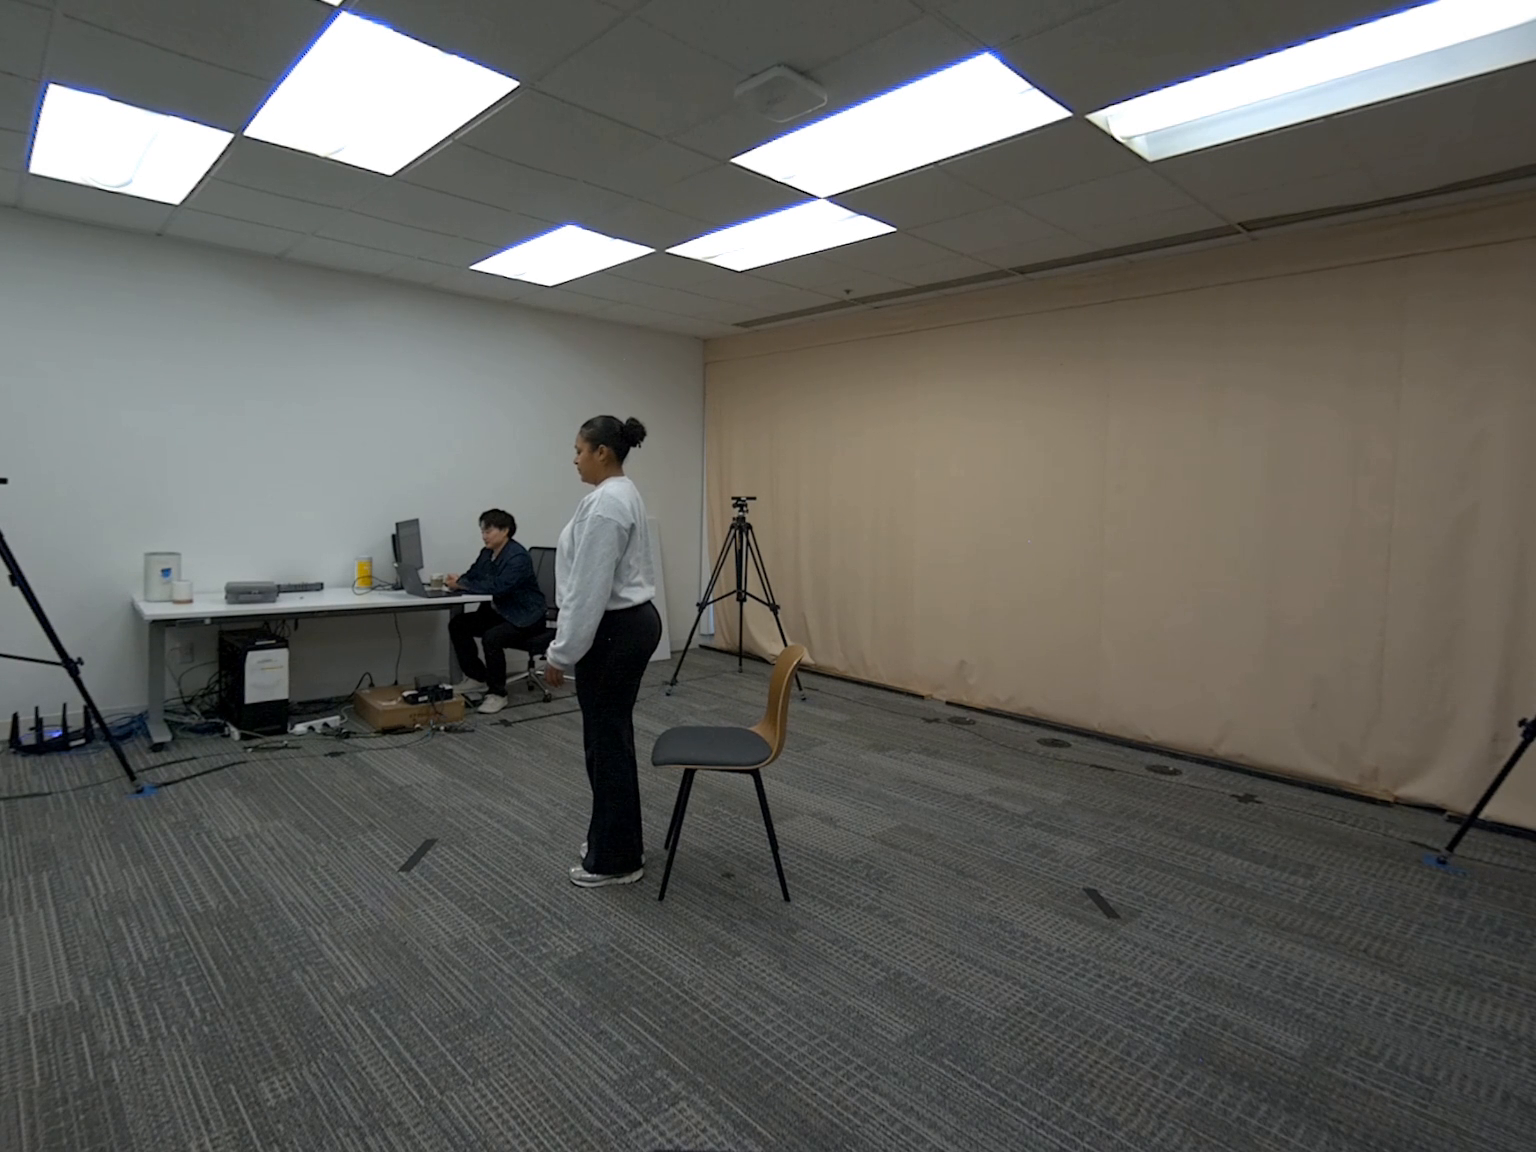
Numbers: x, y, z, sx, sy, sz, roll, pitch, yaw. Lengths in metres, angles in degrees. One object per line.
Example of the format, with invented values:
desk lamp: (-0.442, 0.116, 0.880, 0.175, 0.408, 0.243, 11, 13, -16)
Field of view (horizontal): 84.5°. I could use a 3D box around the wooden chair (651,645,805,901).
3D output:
wooden chair: (-0.168, 0.676, 3.089, 0.521, 0.875, 0.481, 5, 4, -4)
